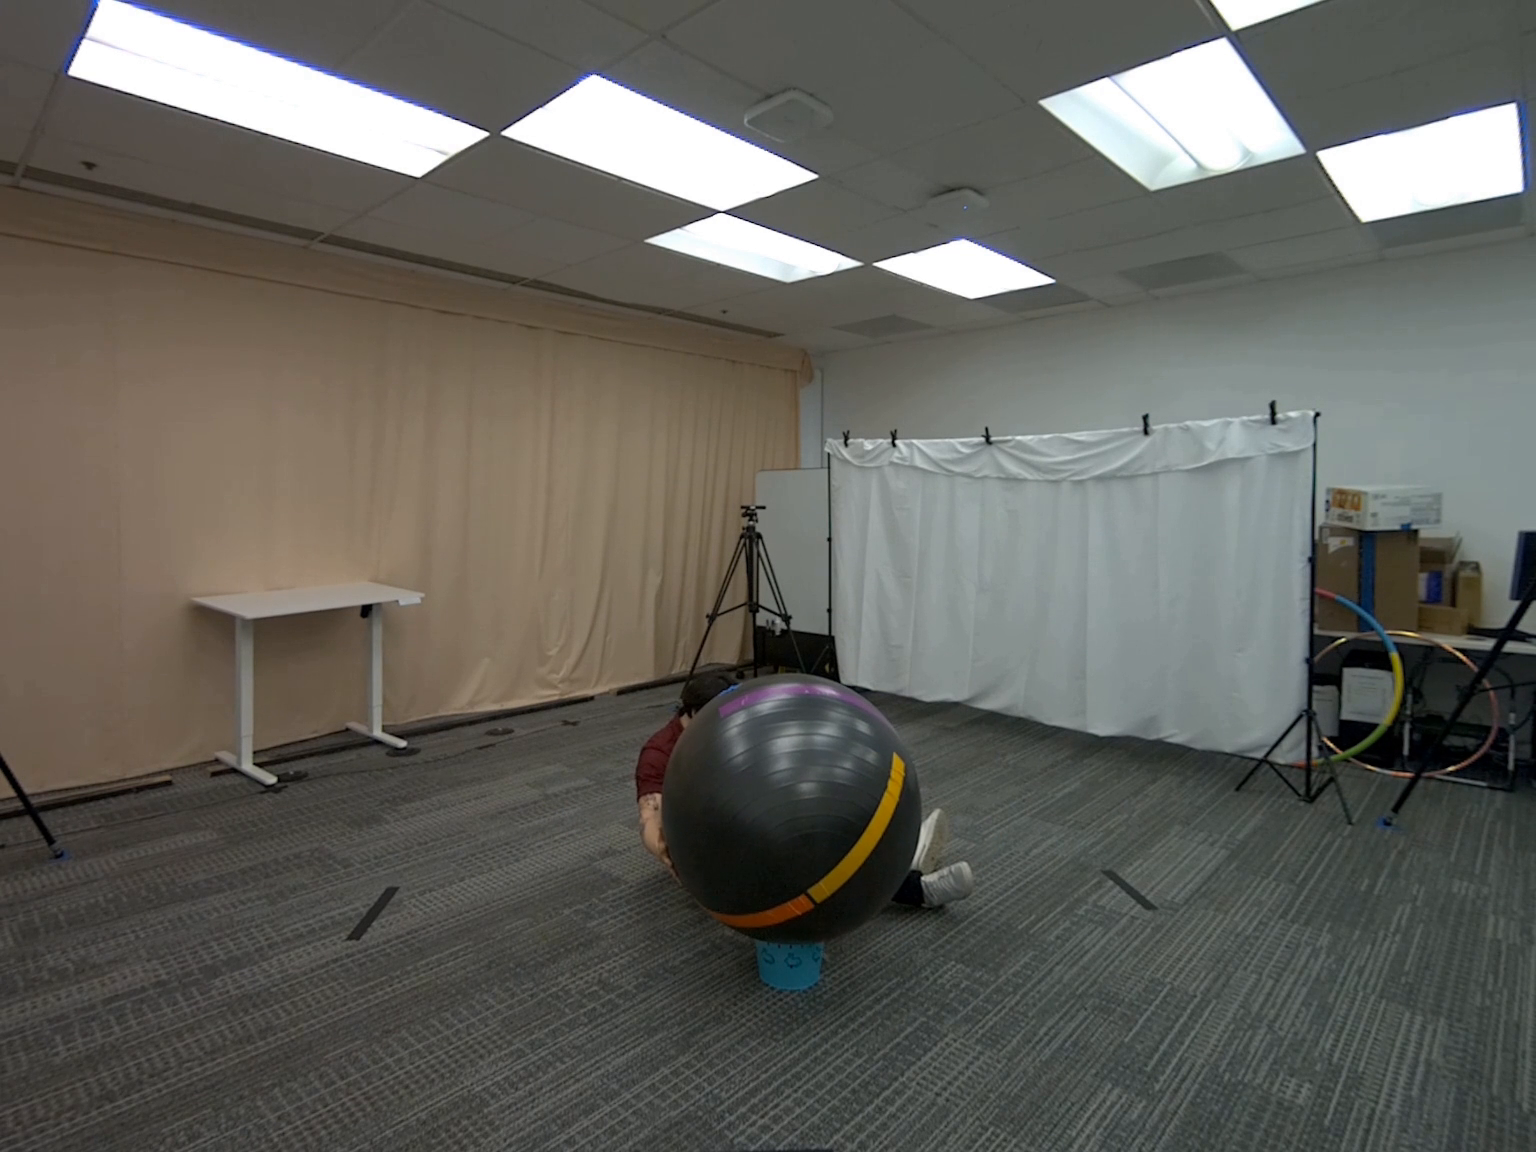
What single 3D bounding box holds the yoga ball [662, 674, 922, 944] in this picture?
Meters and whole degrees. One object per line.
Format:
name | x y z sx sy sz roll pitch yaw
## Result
yoga ball | 0.071 0.678 2.476 0.757 0.756 0.760 0 4 -2
